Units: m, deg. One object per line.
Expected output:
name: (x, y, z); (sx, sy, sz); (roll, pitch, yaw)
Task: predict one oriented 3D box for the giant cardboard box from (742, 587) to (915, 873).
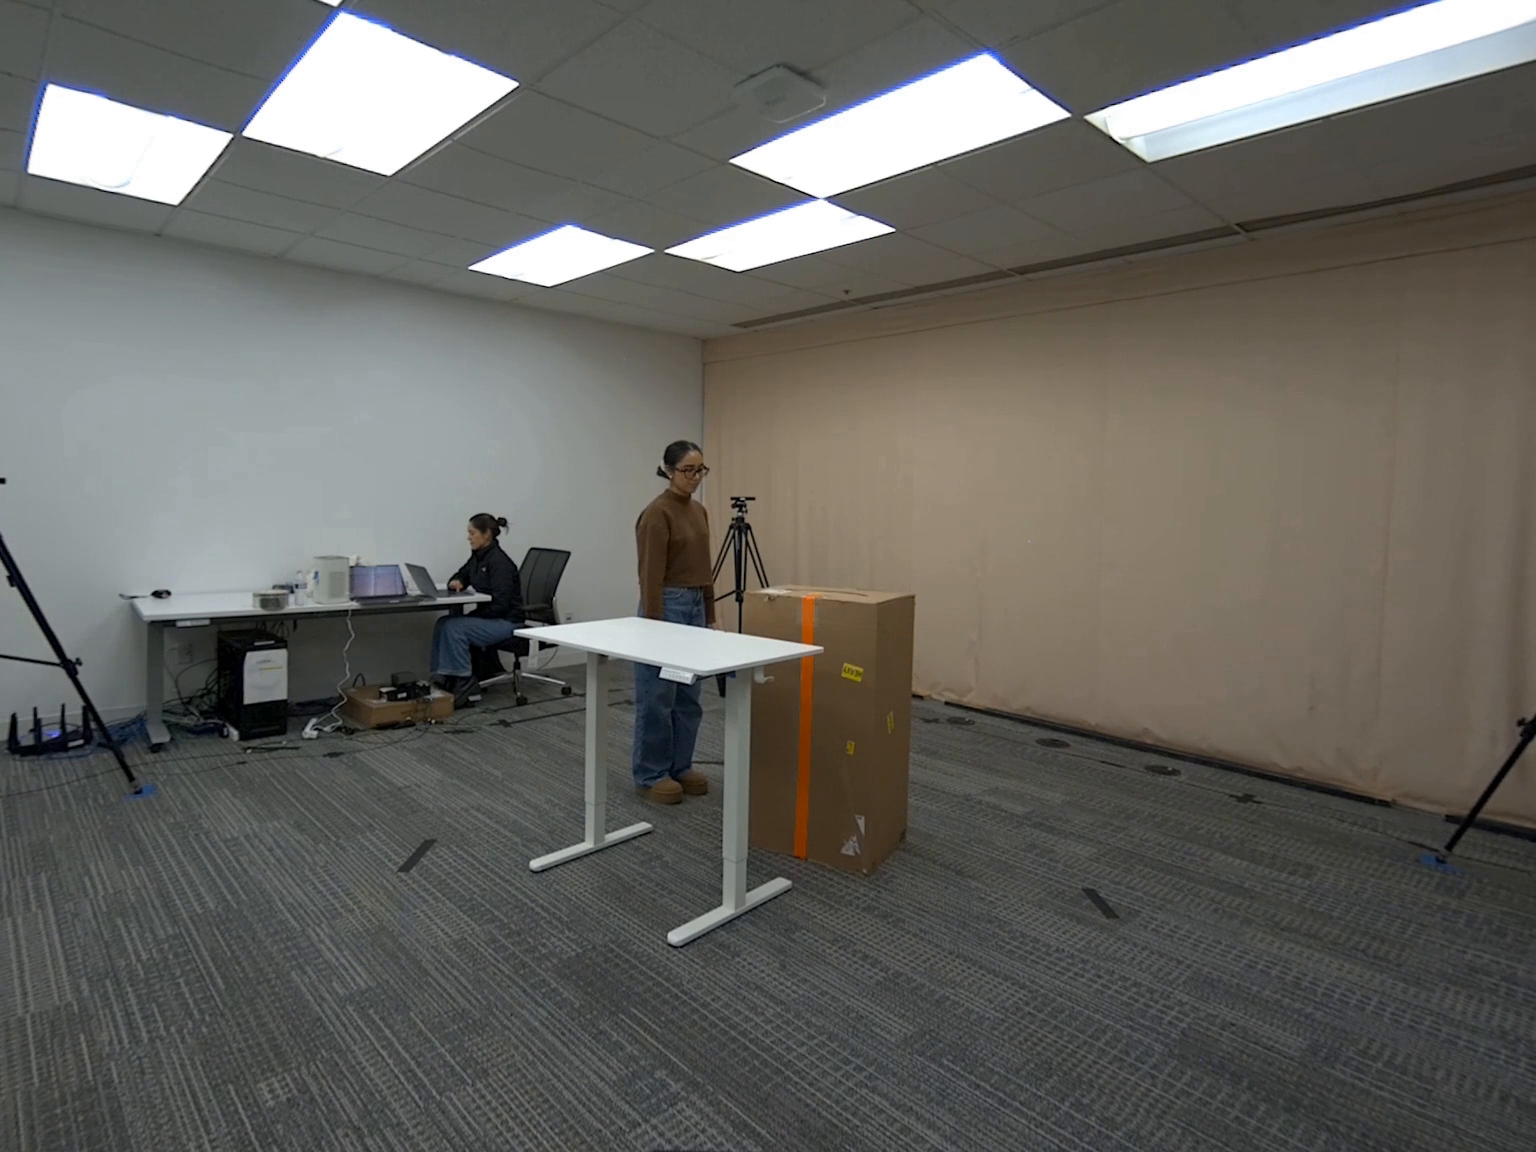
giant cardboard box: (0.232, 0.576, 3.426); (0.590, 1.024, 0.418); (3, 3, 30)
